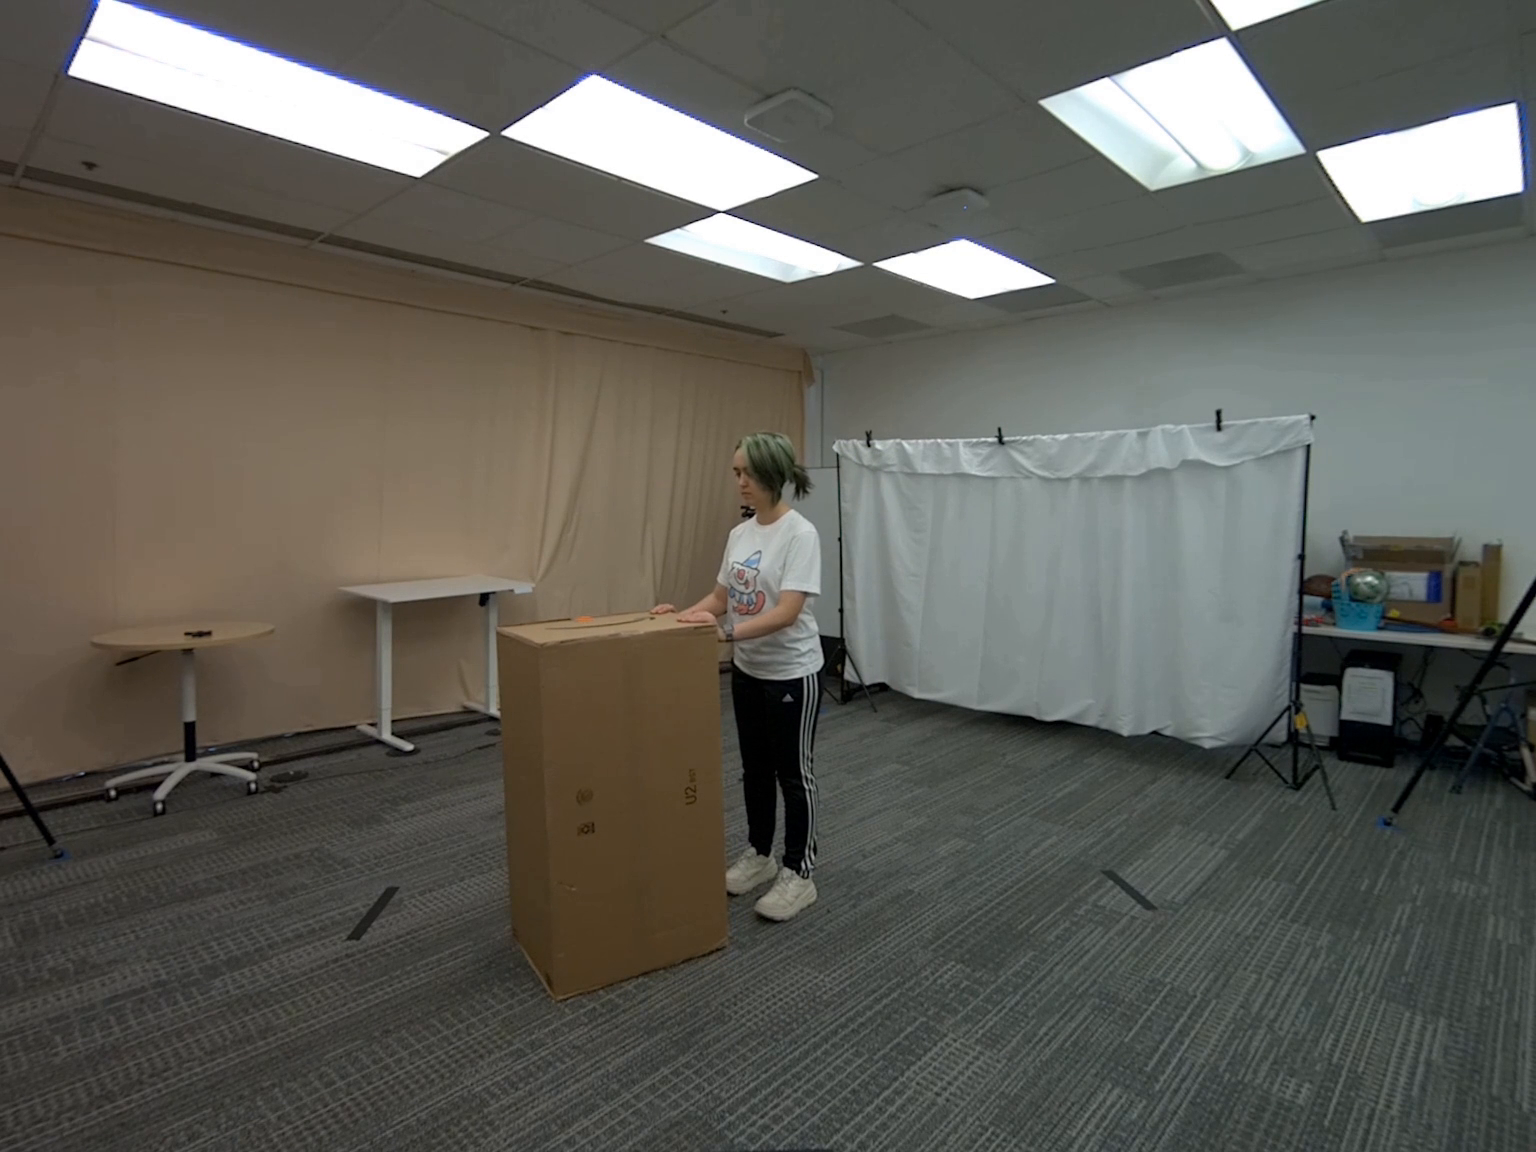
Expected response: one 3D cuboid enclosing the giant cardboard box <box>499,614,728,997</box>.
[{"bbox_3d":[-0.495,0.664,2.654,0.568,1.024,0.460,-4,5,-32],"label":"giant cardboard box"}]
